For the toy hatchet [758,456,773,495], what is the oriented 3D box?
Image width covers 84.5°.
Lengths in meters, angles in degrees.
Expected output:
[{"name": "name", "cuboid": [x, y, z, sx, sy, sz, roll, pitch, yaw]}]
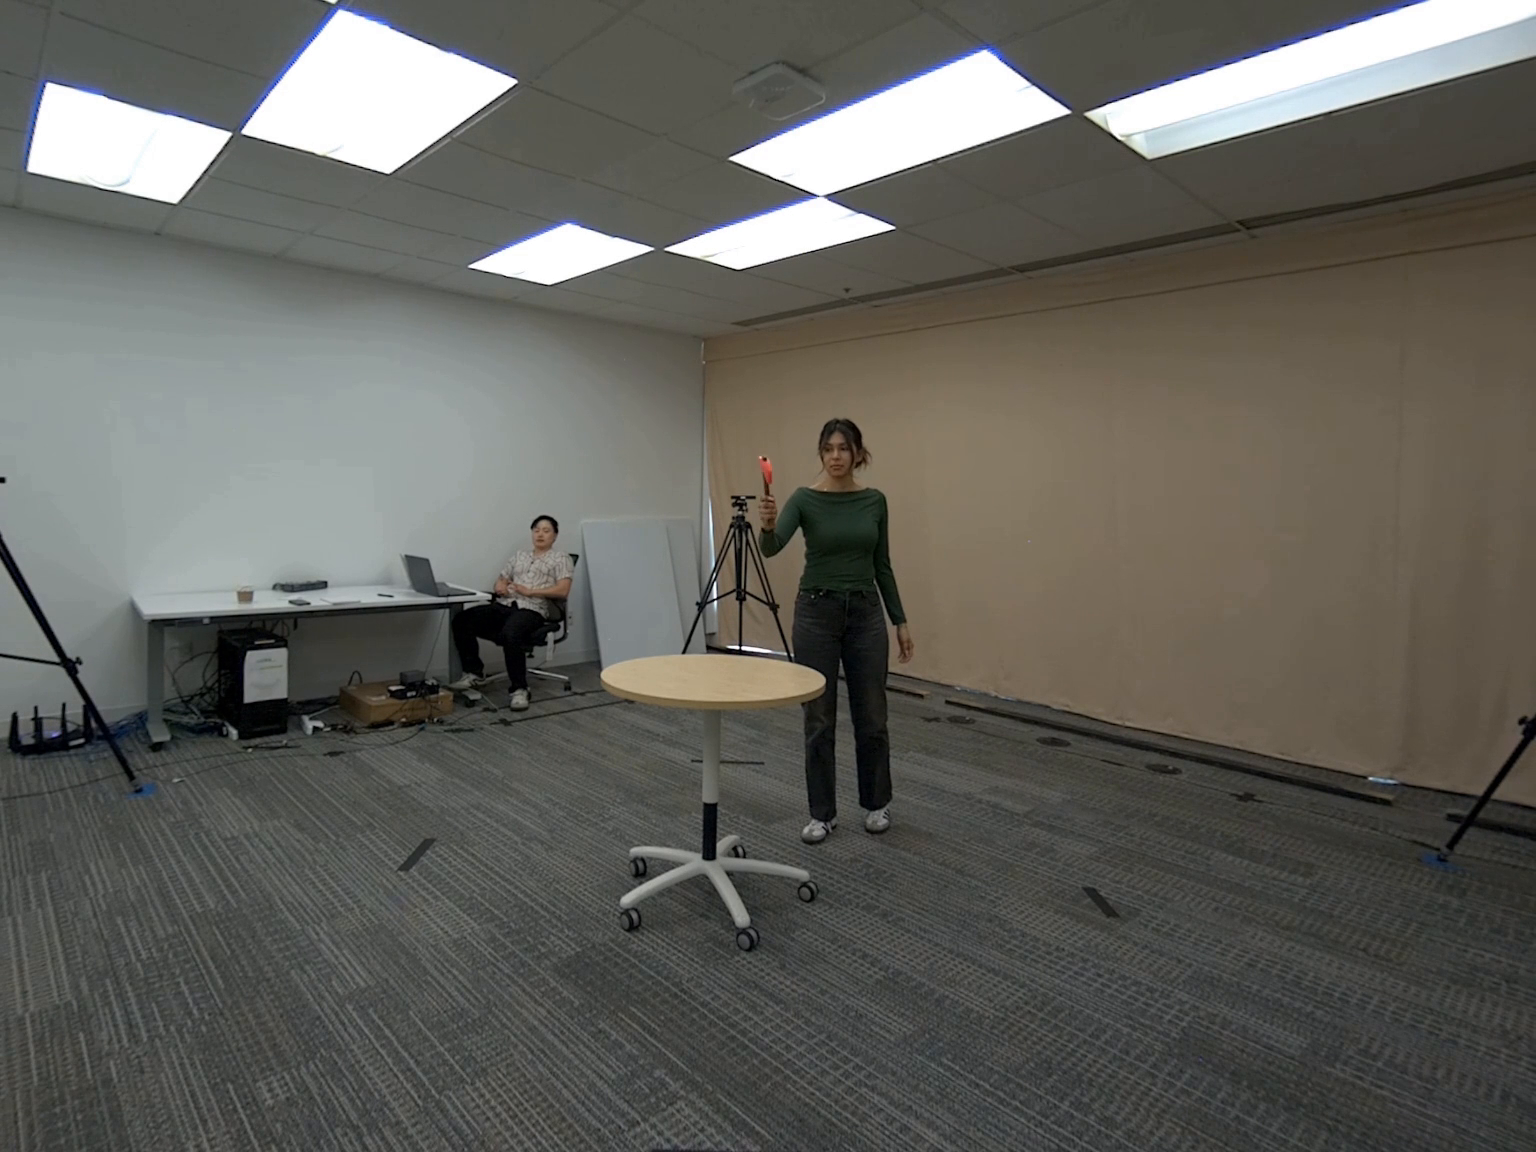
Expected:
[{"name": "toy hatchet", "cuboid": [-0.001, -0.281, 2.912, 0.029, 0.266, 0.133, -12, 16, -10]}]
